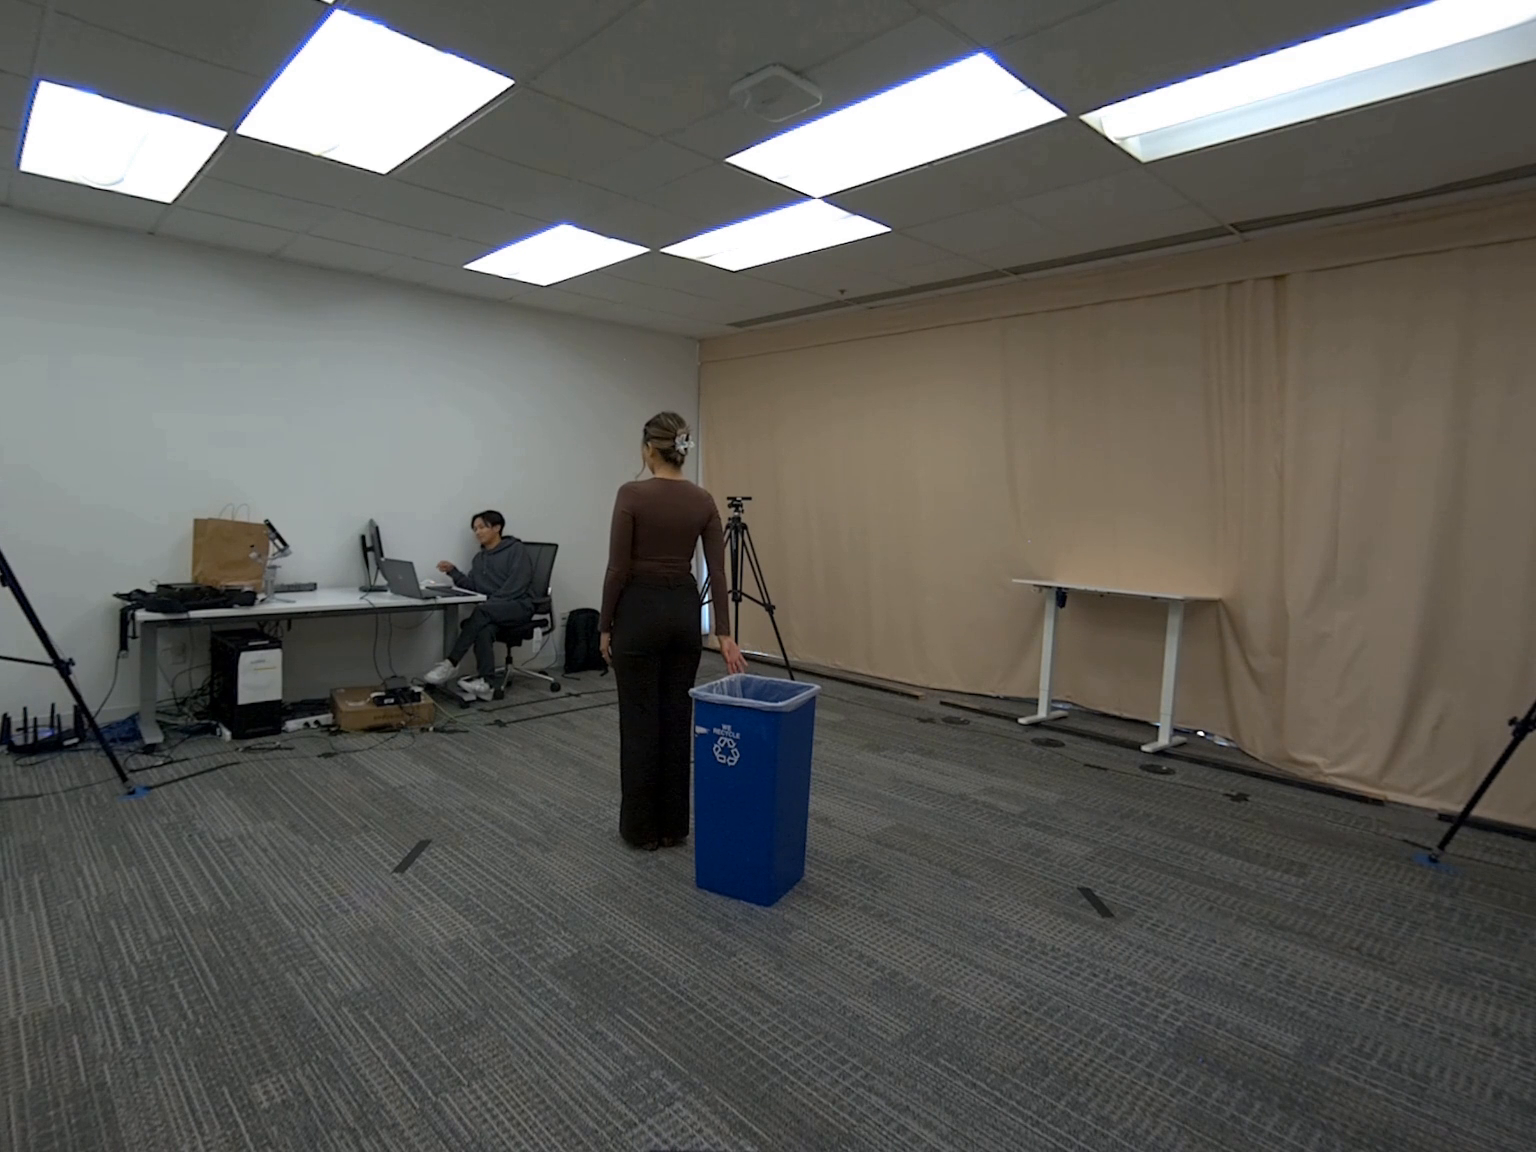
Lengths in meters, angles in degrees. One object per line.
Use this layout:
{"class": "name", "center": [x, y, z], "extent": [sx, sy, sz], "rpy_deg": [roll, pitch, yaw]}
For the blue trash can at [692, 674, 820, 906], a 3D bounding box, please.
{"class": "blue trash can", "center": [-0.062, 0.754, 3.048], "extent": [0.386, 0.711, 0.367], "rpy_deg": [3, 5, 27]}
